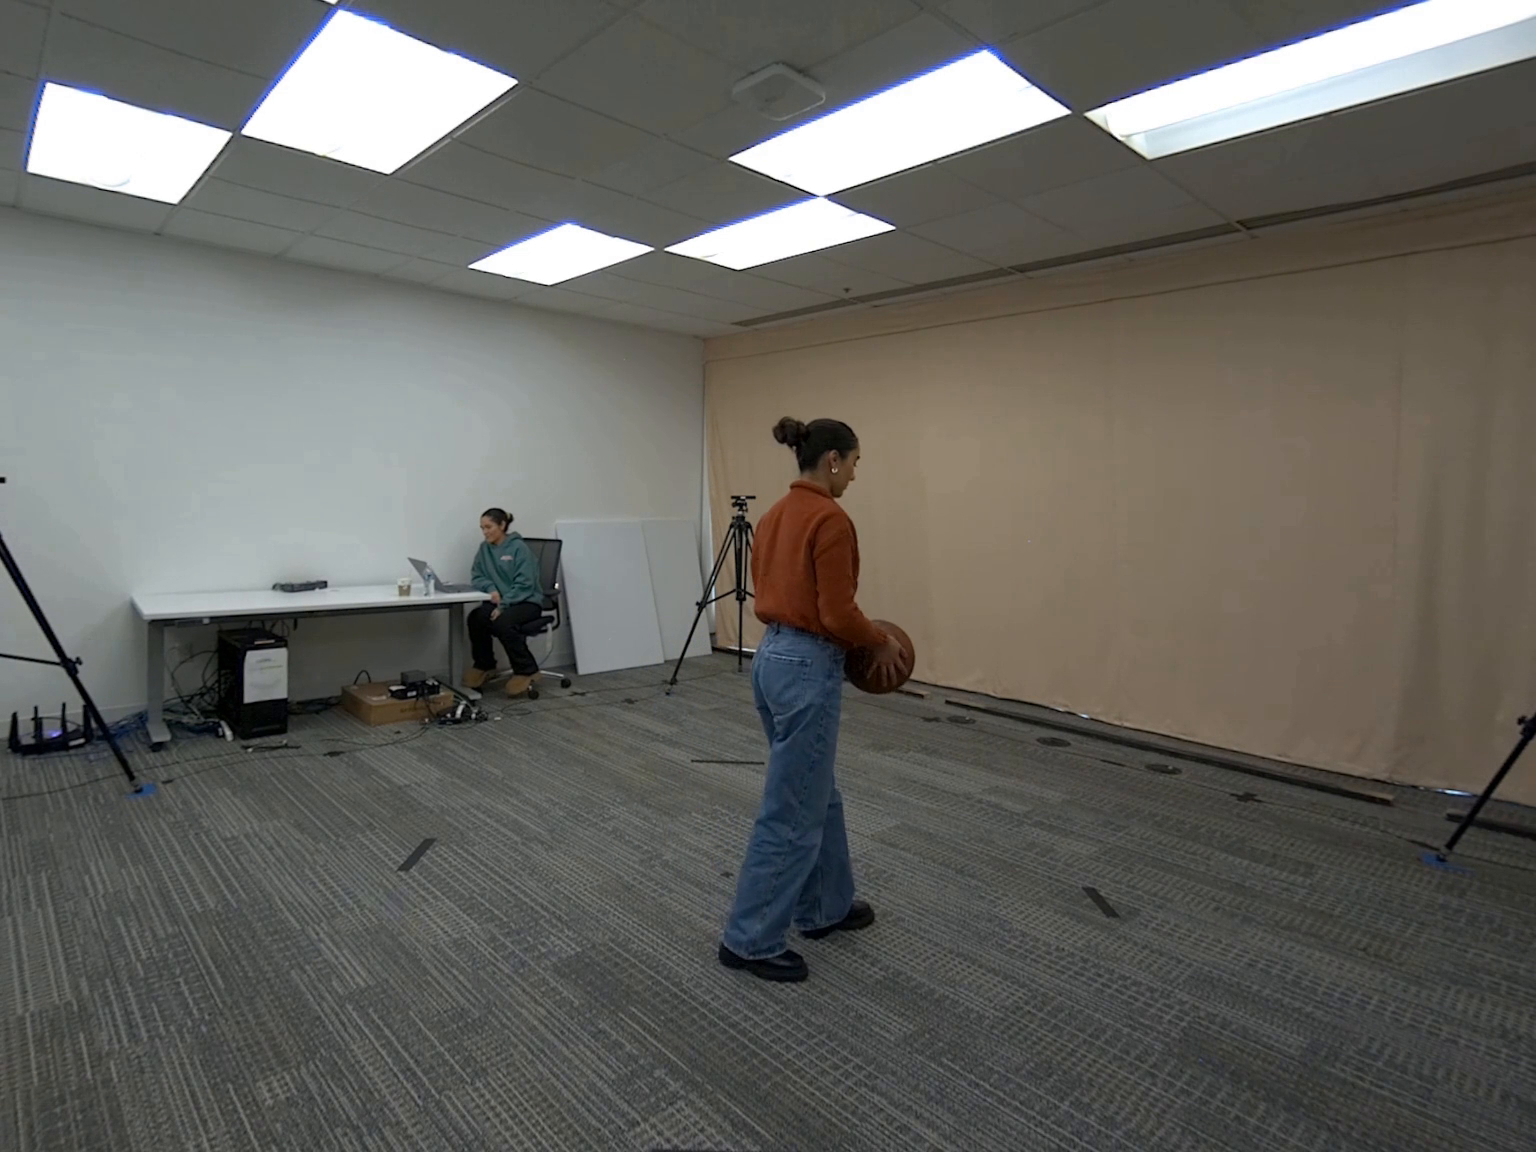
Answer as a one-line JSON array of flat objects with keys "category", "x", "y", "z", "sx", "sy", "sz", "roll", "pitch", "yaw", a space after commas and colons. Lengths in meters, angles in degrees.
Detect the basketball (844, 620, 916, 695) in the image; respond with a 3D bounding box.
[{"category": "basketball", "x": 0.344, "y": 0.252, "z": 2.683, "sx": 0.236, "sy": 0.235, "sz": 0.237, "roll": 1, "pitch": 4, "yaw": -1}]
